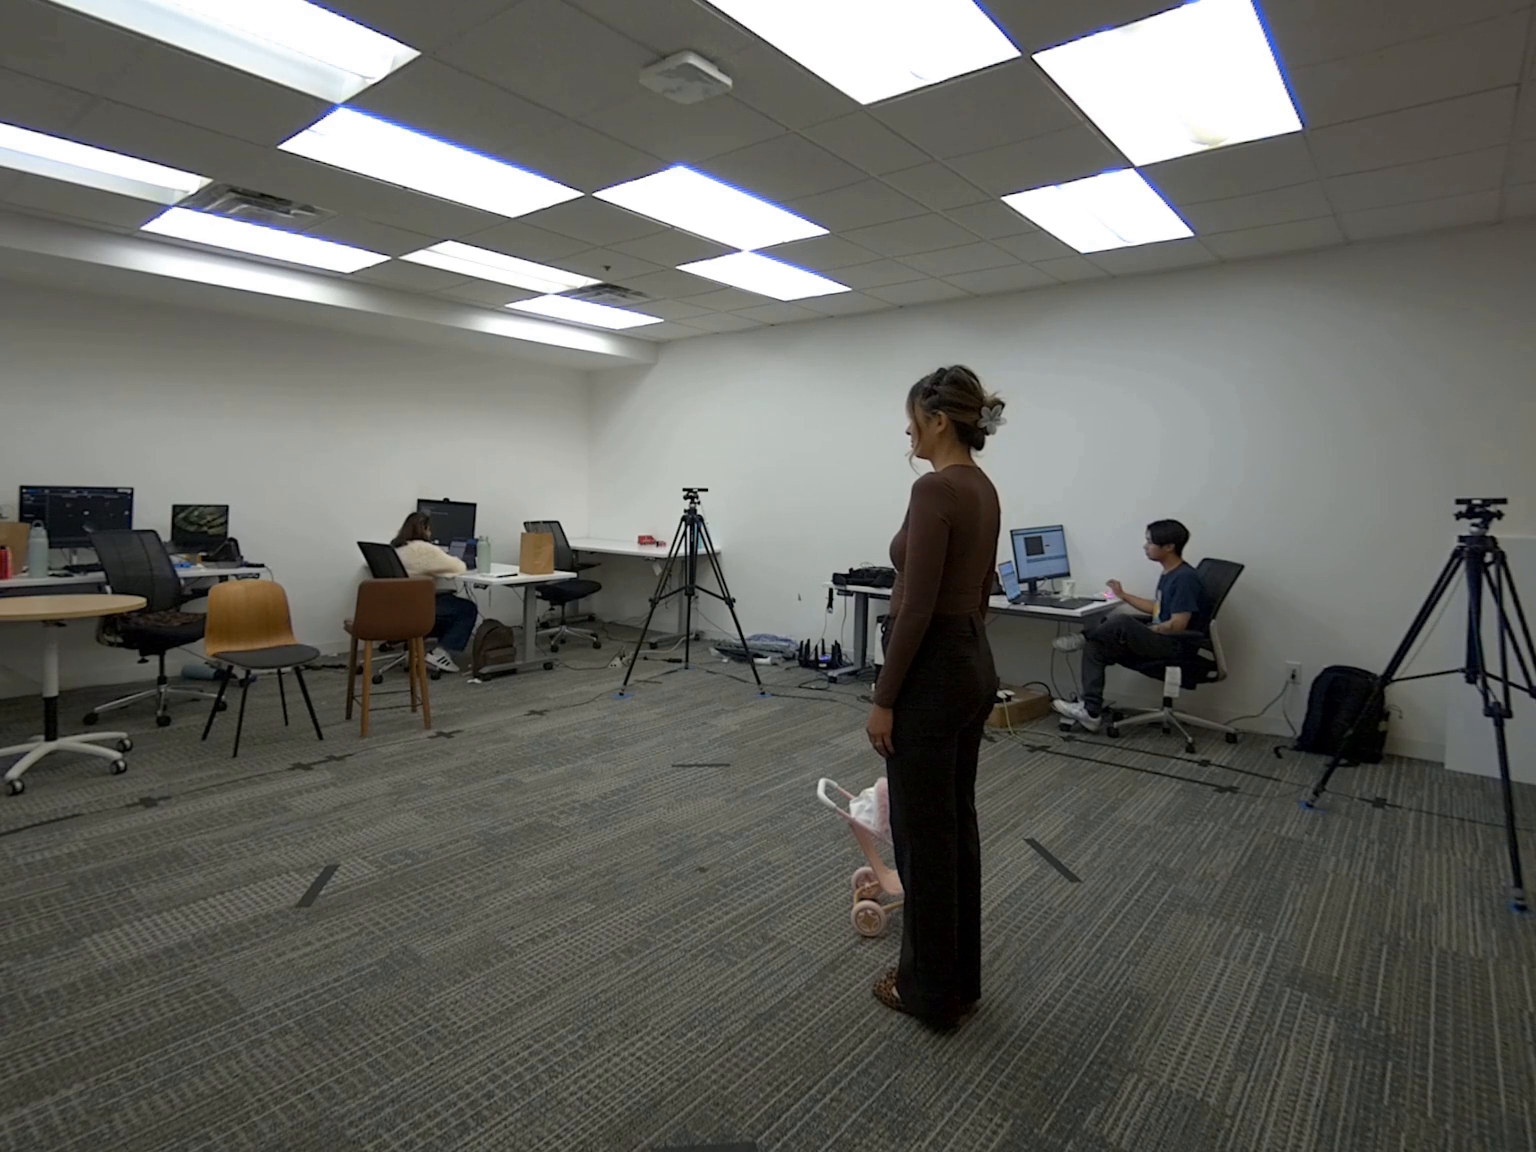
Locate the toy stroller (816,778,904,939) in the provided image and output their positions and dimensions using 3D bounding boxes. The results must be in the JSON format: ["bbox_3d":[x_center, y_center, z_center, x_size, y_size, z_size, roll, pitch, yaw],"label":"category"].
[{"bbox_3d":[0.389,0.896,2.763,0.345,0.535,0.278,-15,0,13],"label":"toy stroller"}]
